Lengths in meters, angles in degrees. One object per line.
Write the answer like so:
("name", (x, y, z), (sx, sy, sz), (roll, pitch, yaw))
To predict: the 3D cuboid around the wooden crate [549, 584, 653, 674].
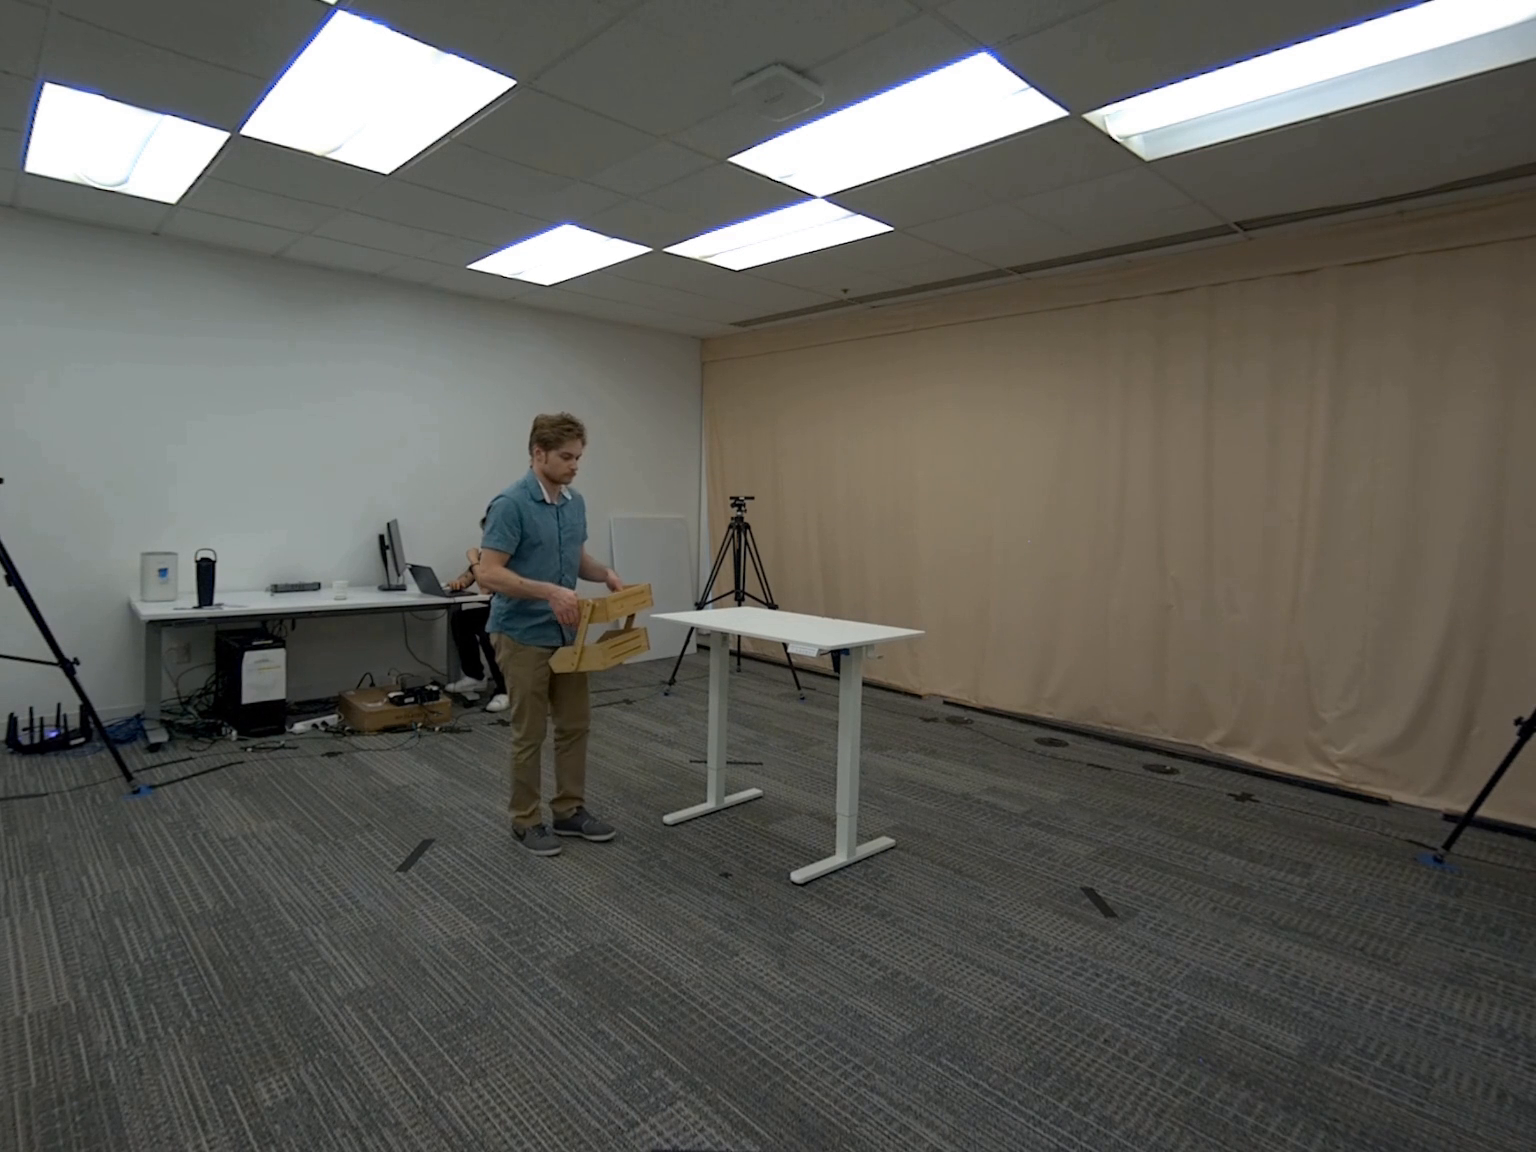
("wooden crate", (-0.643, 0.187, 3.165), (0.307, 0.272, 0.320), (-5, 6, 24))
